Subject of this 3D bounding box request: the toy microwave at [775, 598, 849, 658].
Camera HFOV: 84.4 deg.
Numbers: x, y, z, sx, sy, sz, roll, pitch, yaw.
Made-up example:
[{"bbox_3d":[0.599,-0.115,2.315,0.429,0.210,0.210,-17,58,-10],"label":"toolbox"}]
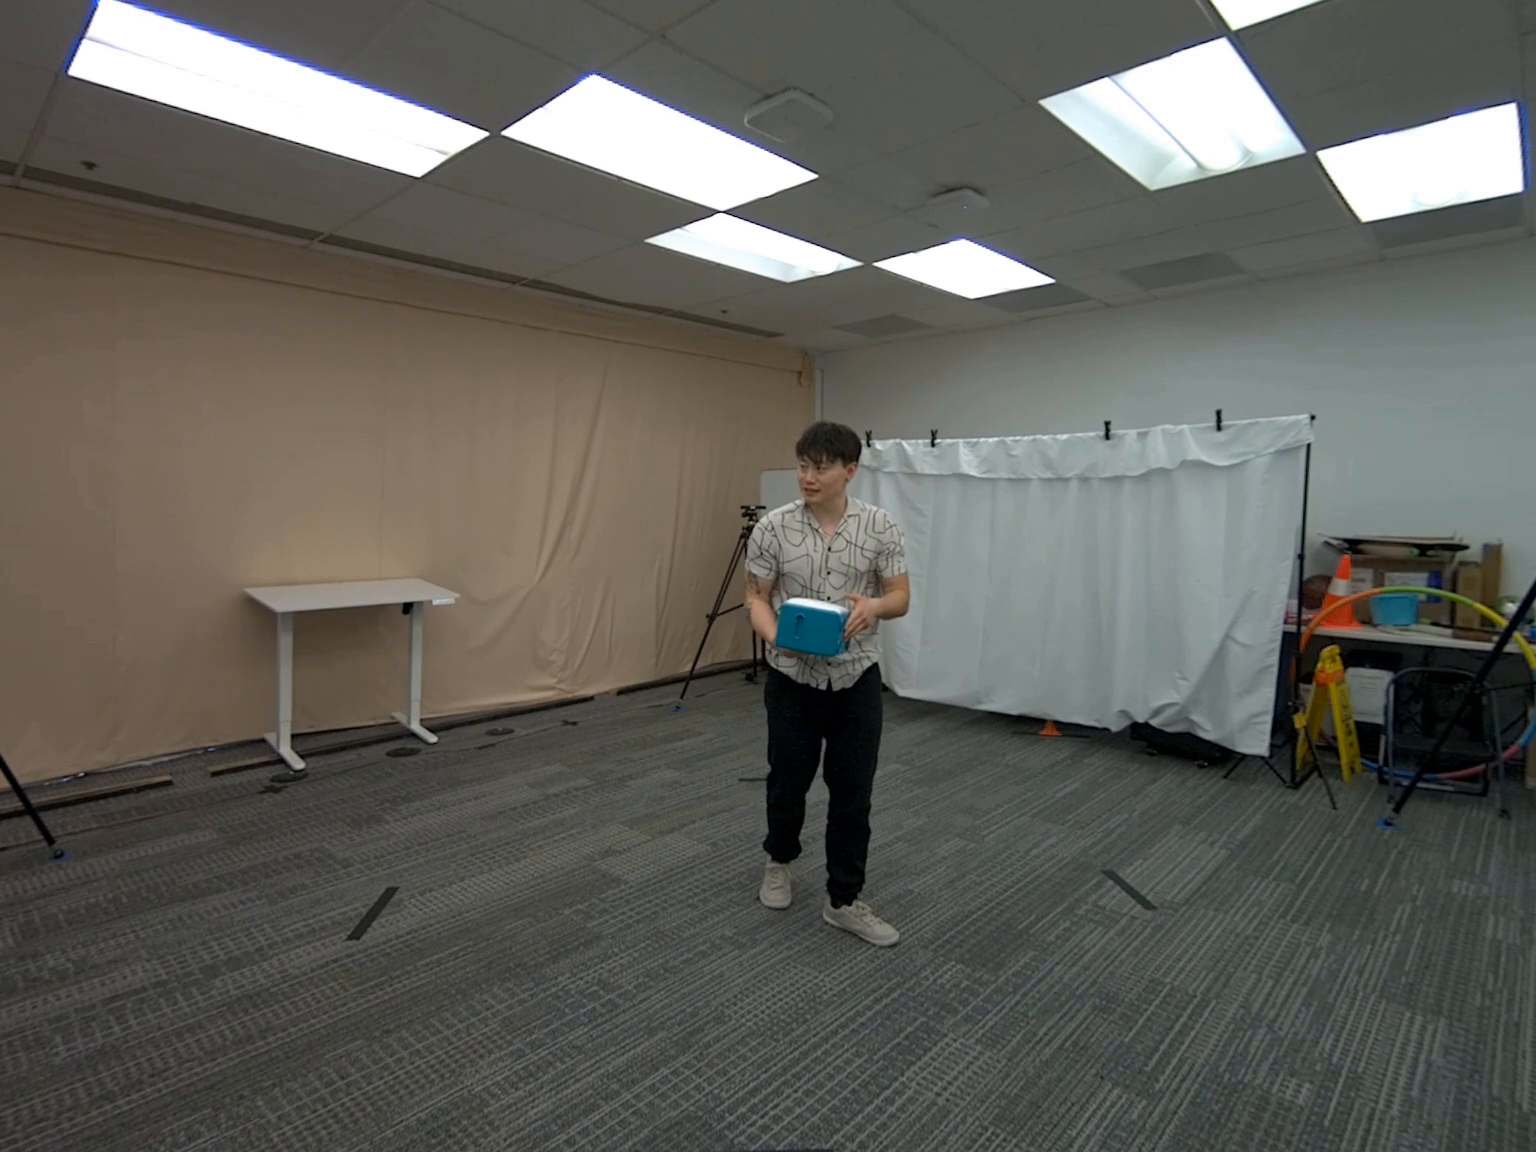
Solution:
[{"bbox_3d":[0.145,0.142,2.503,0.186,0.152,0.283,7,0,9],"label":"toy microwave"}]
